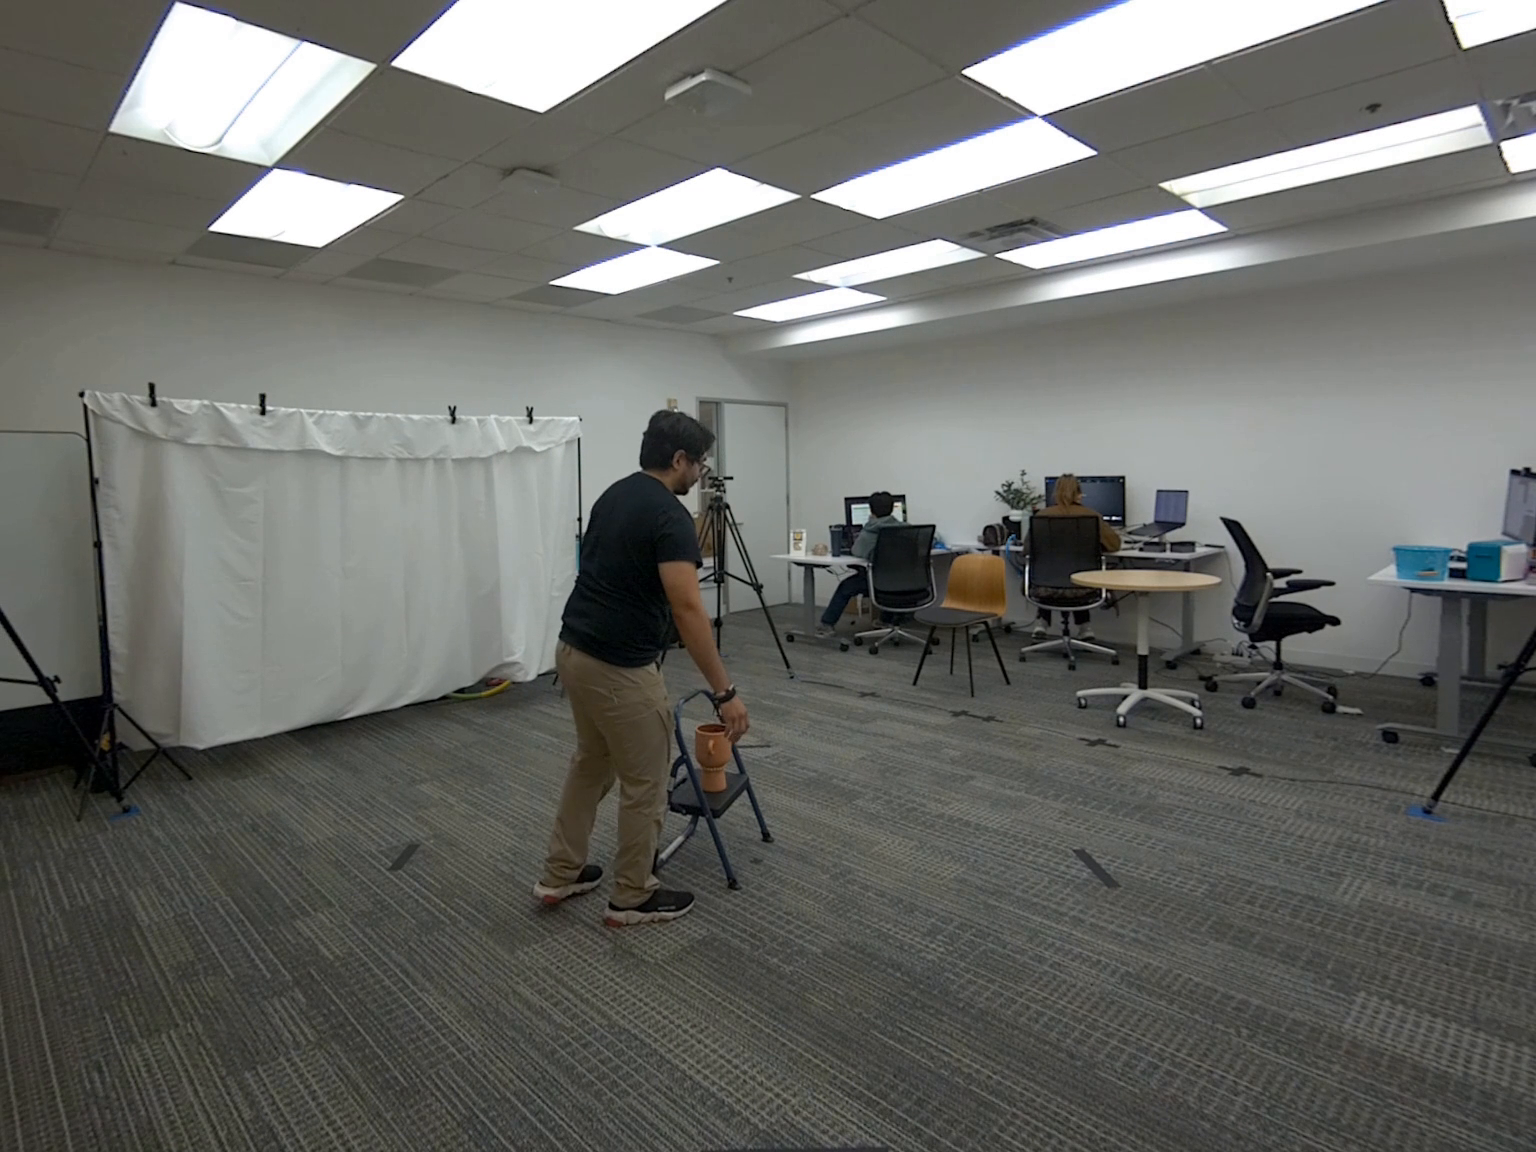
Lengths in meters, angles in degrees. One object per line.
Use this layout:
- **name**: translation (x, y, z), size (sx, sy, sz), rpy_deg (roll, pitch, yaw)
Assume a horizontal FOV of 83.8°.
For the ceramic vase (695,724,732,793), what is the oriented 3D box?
- **ceramic vase**: translation (-0.195, 0.667, 3.125), size (0.139, 0.219, 0.155), rpy_deg (5, 7, 42)
